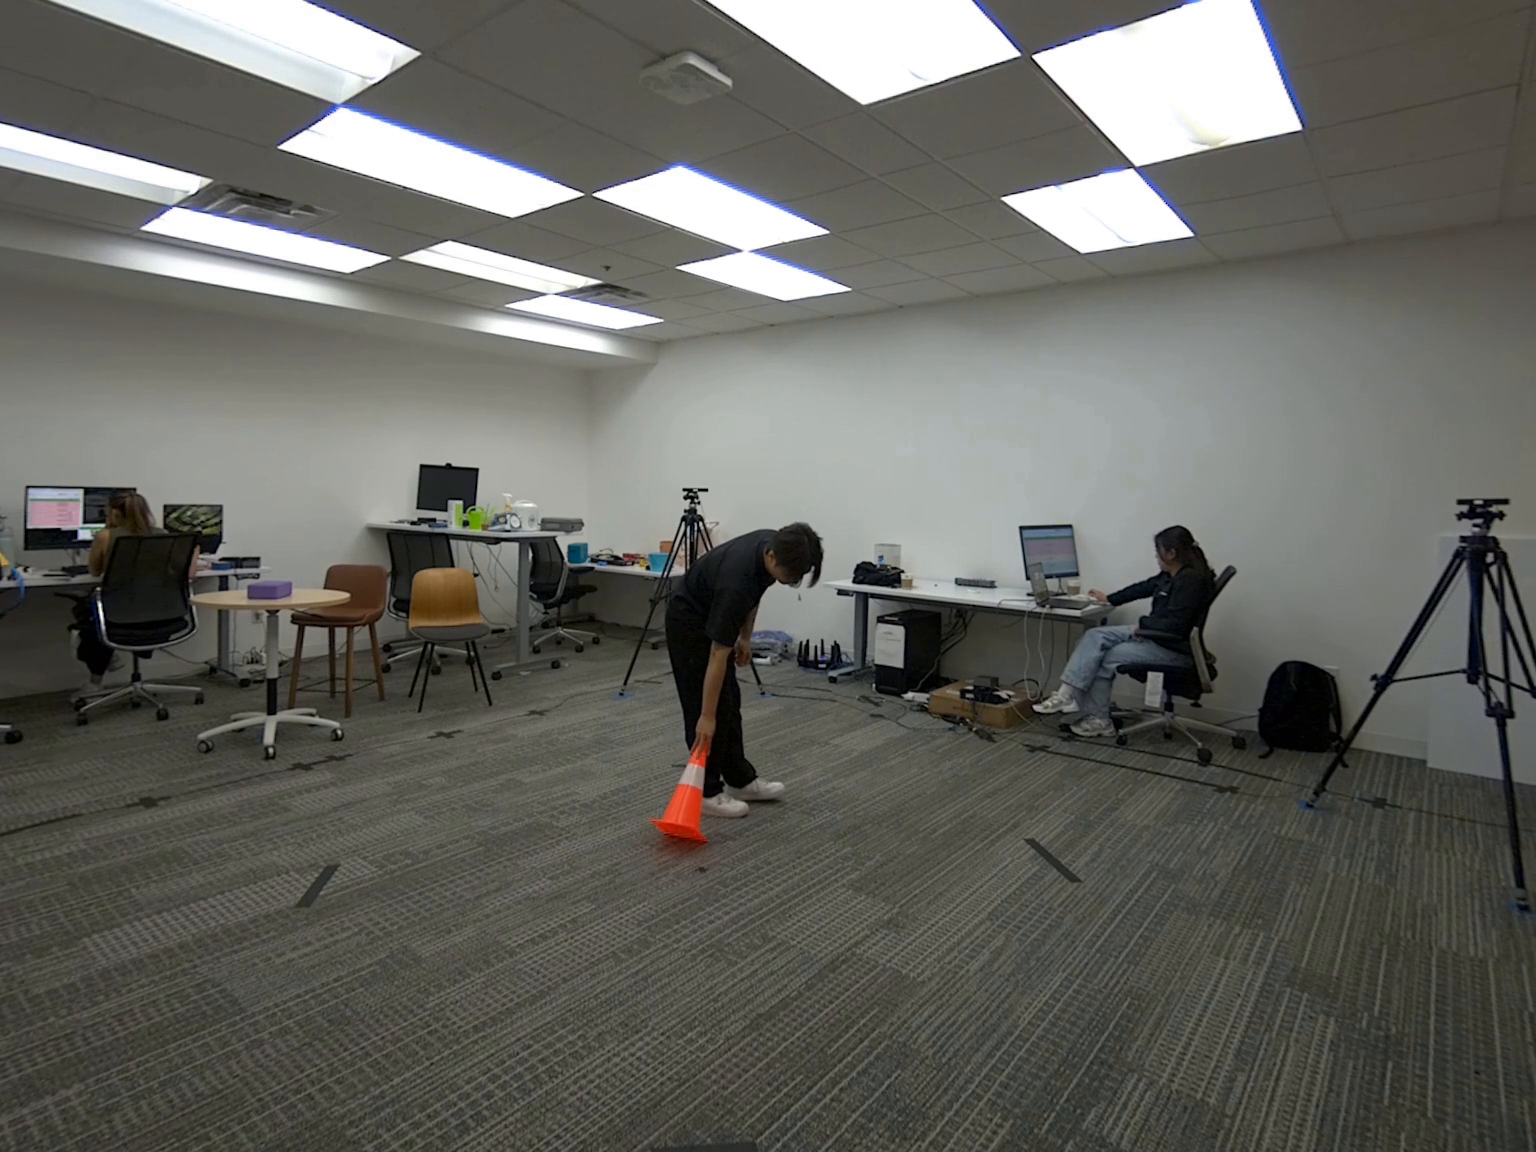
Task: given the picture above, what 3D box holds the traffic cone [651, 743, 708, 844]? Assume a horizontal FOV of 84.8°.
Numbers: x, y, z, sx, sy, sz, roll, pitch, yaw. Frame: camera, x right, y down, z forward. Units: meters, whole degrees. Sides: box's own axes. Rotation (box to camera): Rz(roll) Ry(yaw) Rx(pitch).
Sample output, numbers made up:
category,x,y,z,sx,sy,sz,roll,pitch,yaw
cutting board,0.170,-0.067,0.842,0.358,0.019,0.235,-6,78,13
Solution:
category,x,y,z,sx,sy,sz,roll,pitch,yaw
traffic cone,-0.319,0.829,3.414,0.208,0.390,0.196,-2,-31,26
